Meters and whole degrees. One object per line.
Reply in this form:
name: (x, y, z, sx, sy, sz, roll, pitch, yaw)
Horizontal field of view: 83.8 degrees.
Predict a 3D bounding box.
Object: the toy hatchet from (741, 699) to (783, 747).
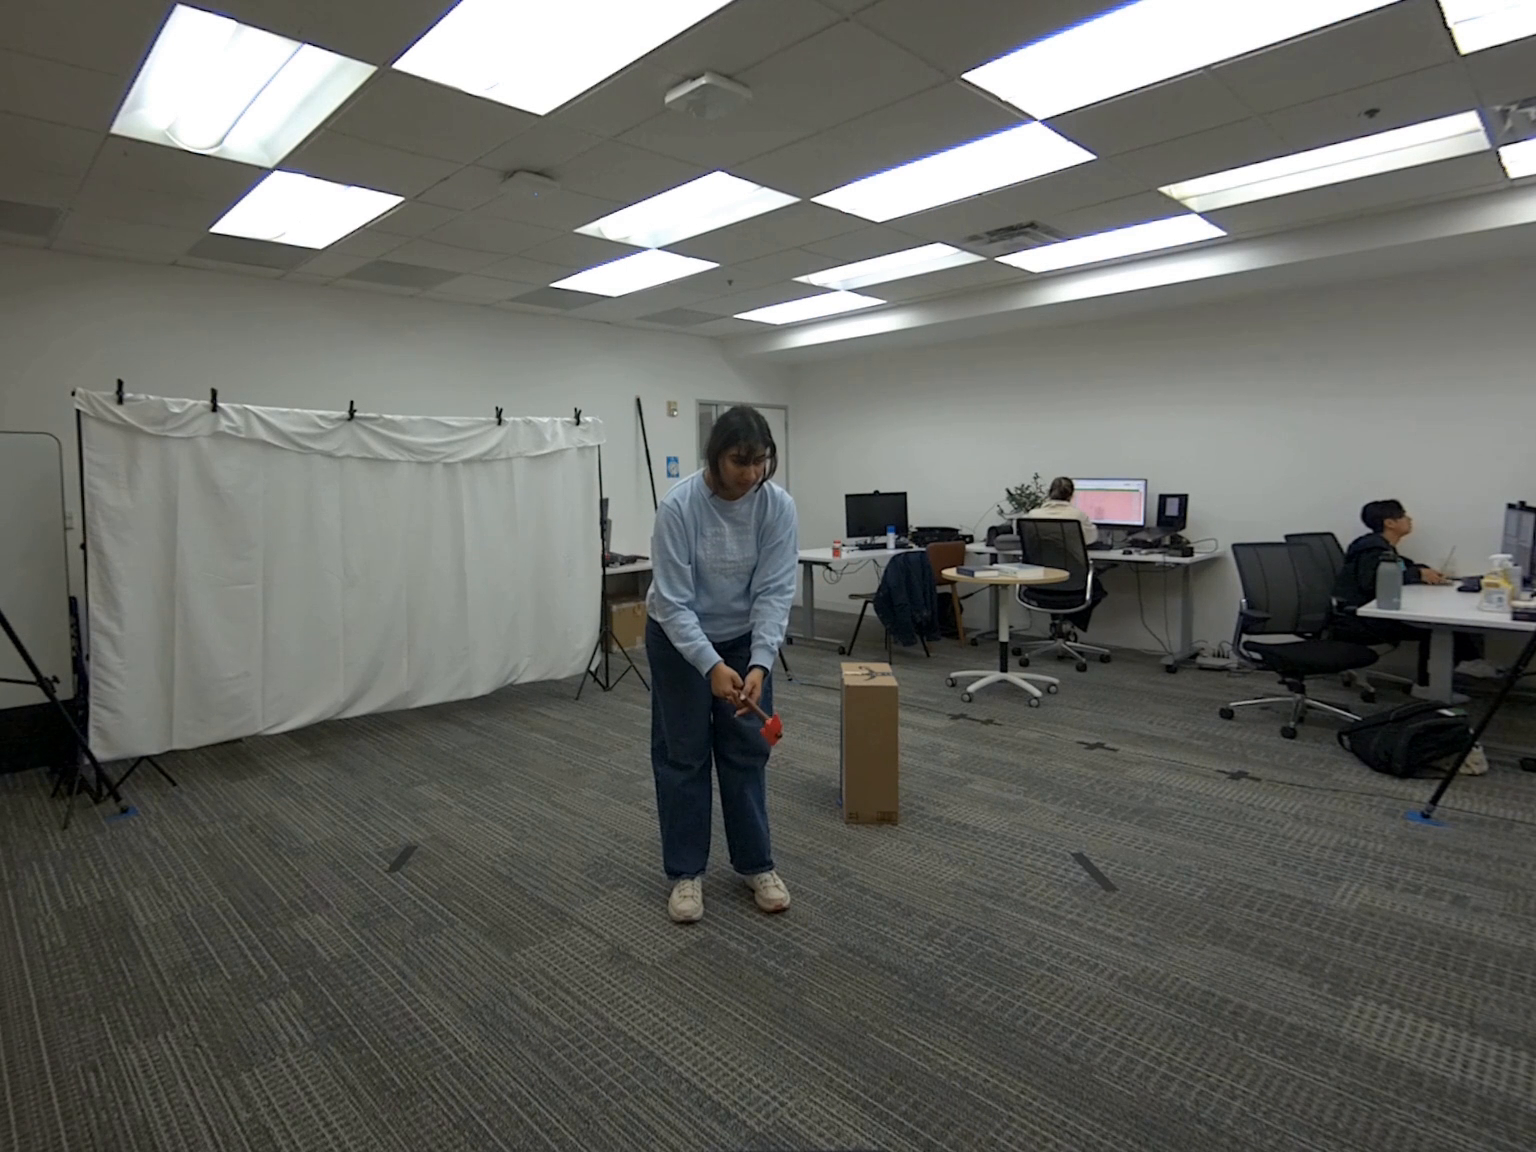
toy hatchet: (-0.047, 0.390, 2.432, 0.029, 0.128, 0.280, -26, 26, -25)
